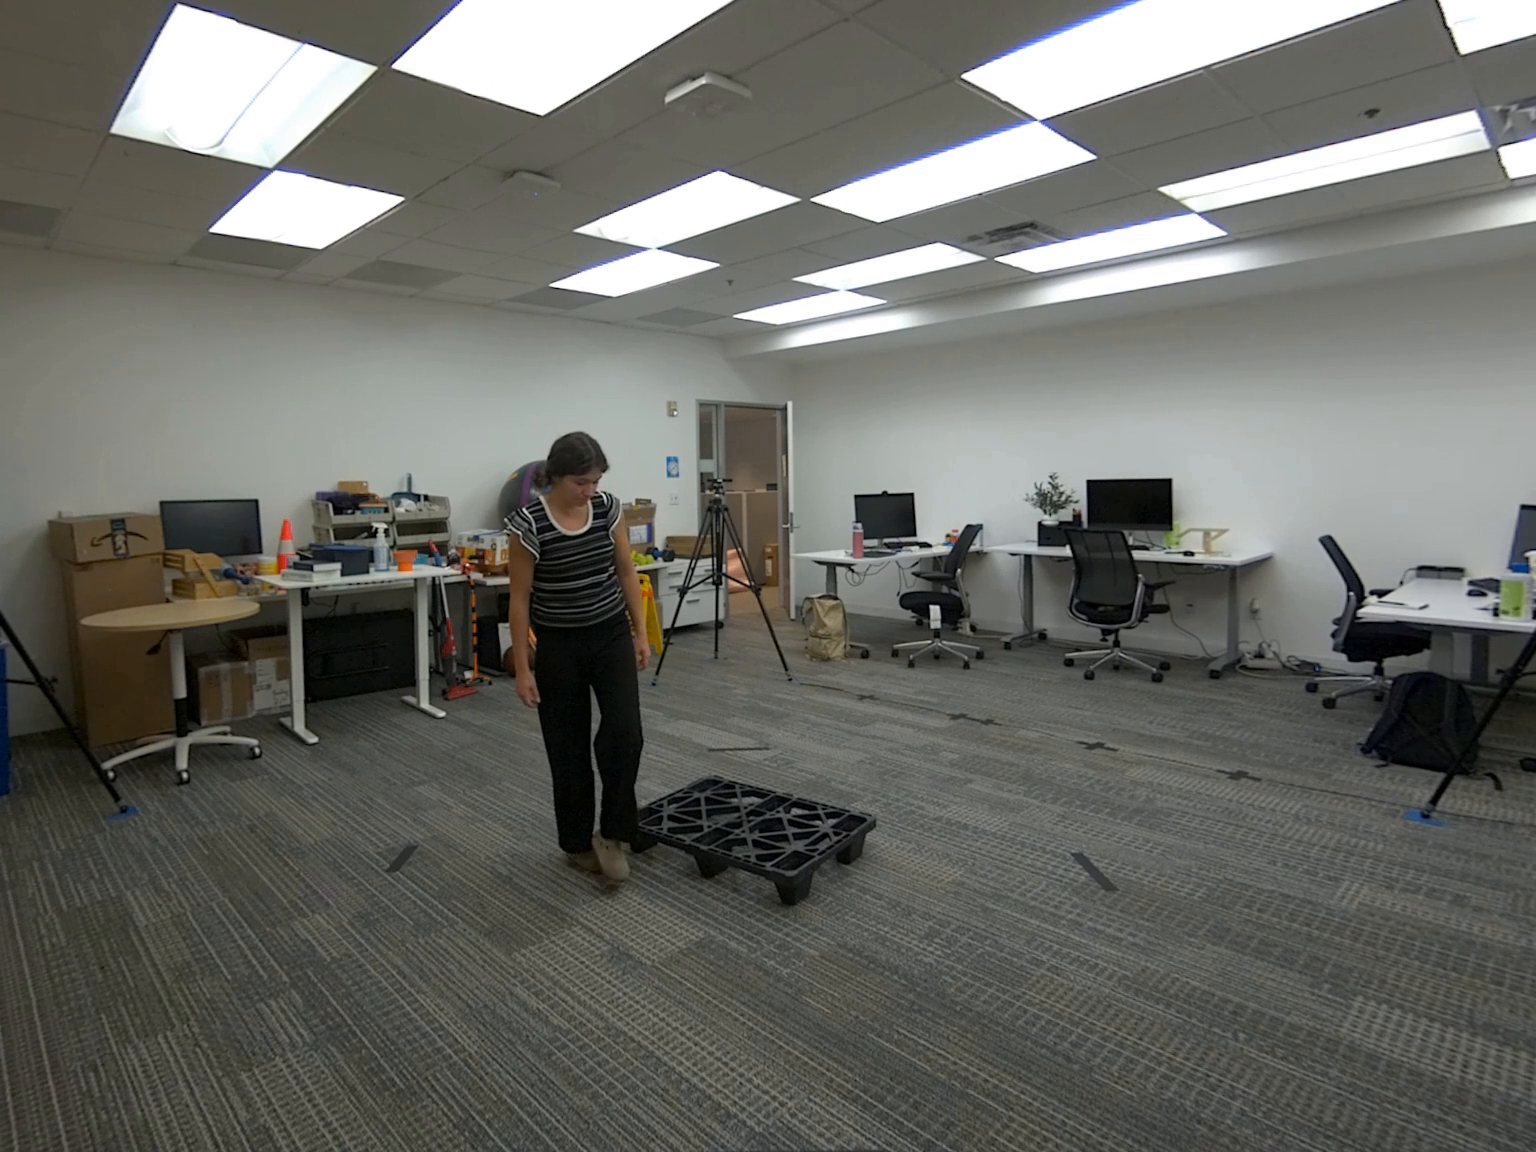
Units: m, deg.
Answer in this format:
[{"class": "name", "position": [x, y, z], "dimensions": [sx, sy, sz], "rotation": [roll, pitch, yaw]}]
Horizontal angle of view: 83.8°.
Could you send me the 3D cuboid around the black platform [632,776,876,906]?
[{"class": "black platform", "position": [-0.085, 0.967, 3.197], "dimensions": [0.829, 0.143, 0.590], "rotation": [4, 7, 36]}]
